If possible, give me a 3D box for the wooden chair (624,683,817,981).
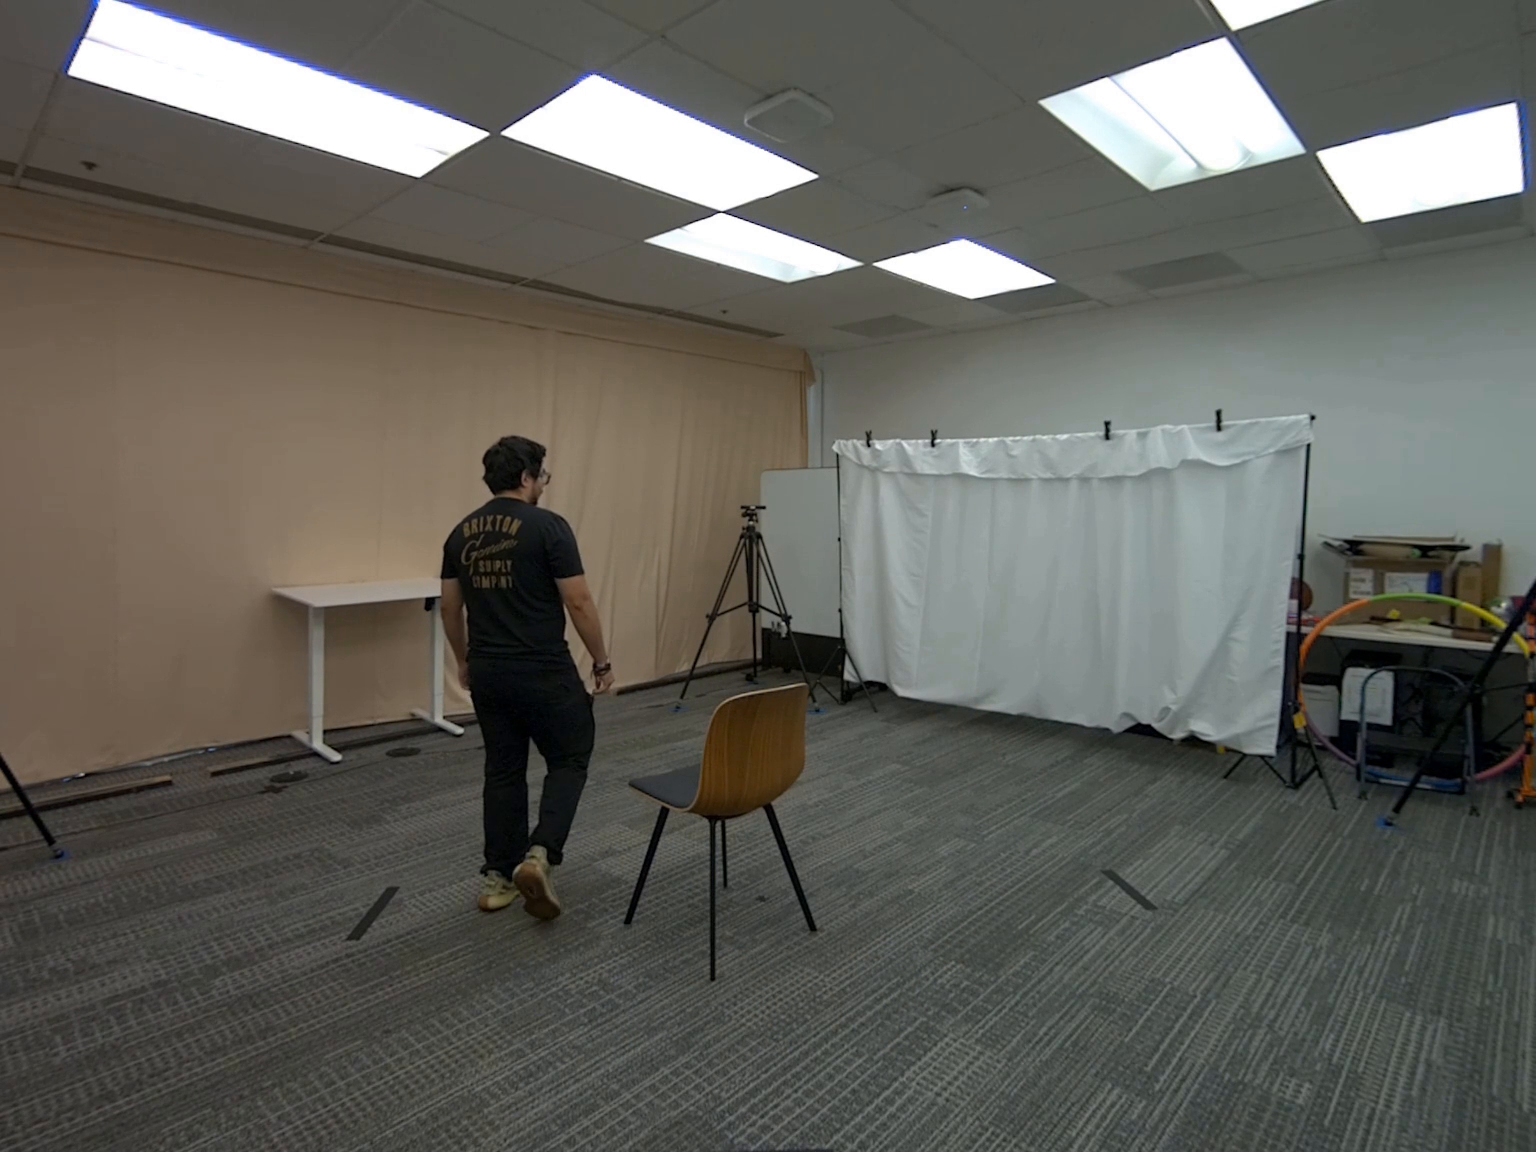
[{"bbox_3d":[-0.163,0.738,2.755,0.463,0.874,0.541,-3,9,-42],"label":"wooden chair"}]
